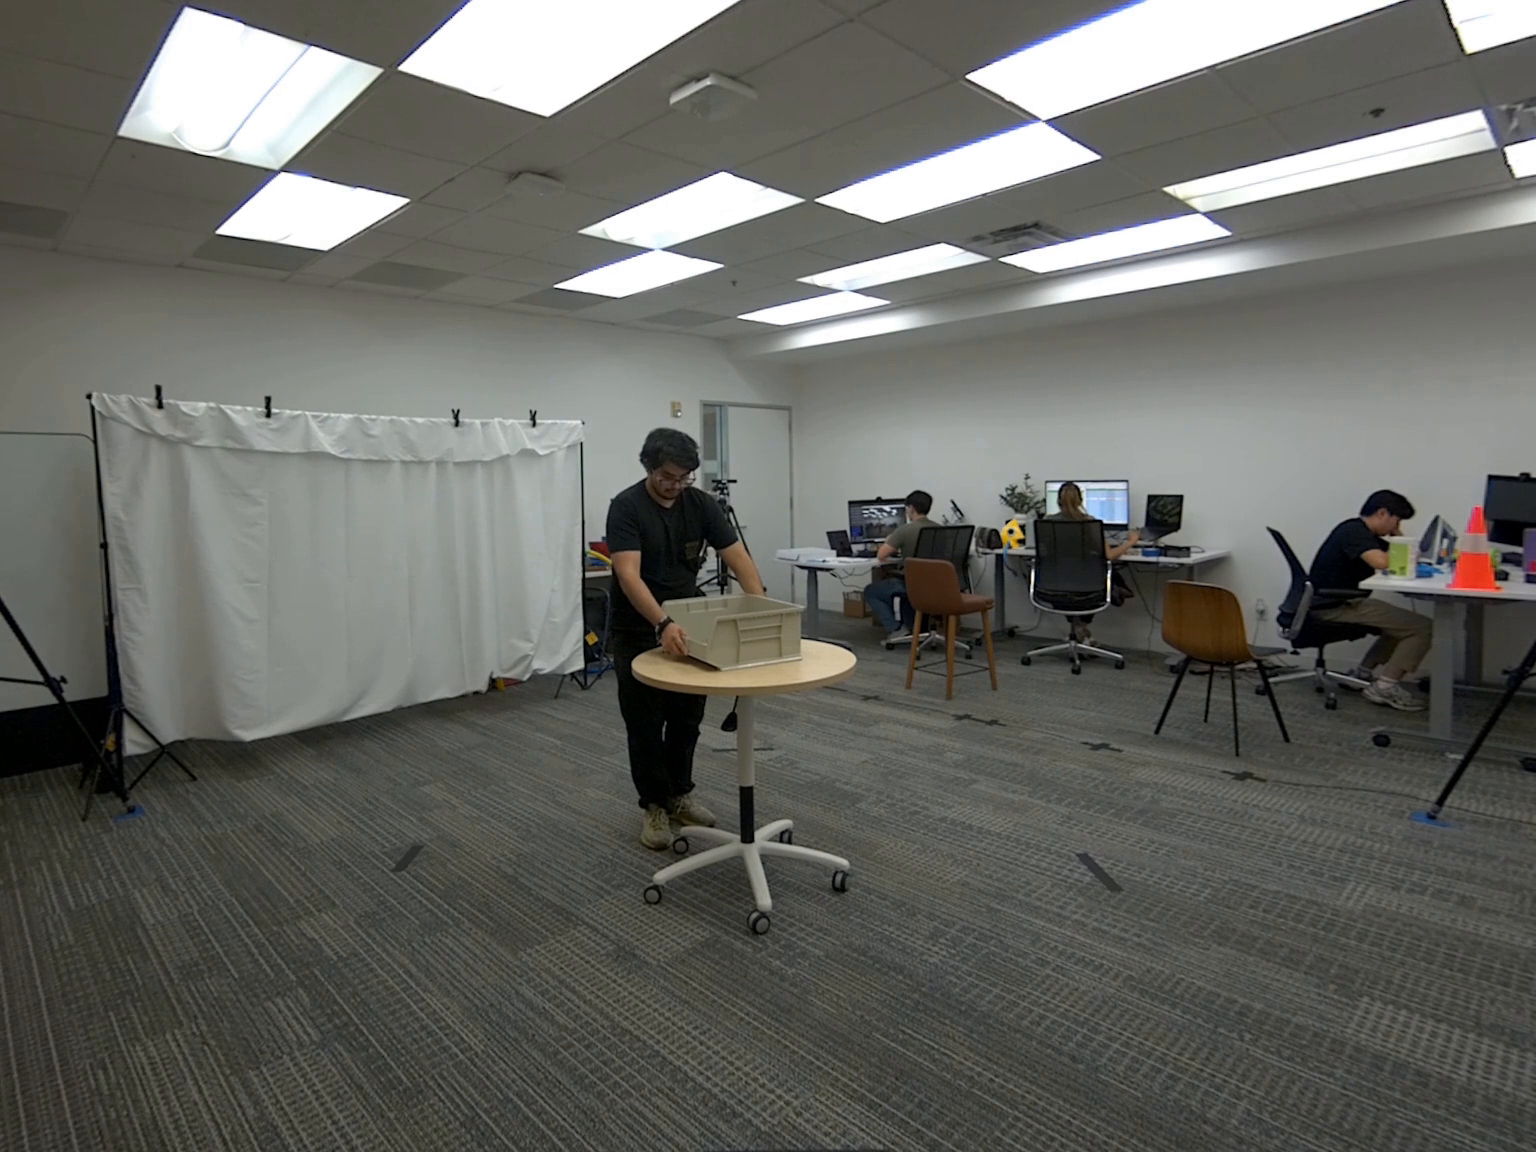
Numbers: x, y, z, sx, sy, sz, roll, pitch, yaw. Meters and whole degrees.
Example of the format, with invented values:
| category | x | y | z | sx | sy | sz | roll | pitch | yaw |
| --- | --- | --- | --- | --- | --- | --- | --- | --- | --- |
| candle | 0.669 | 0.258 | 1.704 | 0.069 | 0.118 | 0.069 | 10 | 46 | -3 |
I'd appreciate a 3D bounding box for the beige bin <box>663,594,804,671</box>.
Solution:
| category | x | y | z | sx | sy | sz | roll | pitch | yaw |
| --- | --- | --- | --- | --- | --- | --- | --- | --- | --- |
| beige bin | -0.136 | 0.188 | 2.983 | 0.369 | 0.188 | 0.434 | -3 | 6 | -29 |
